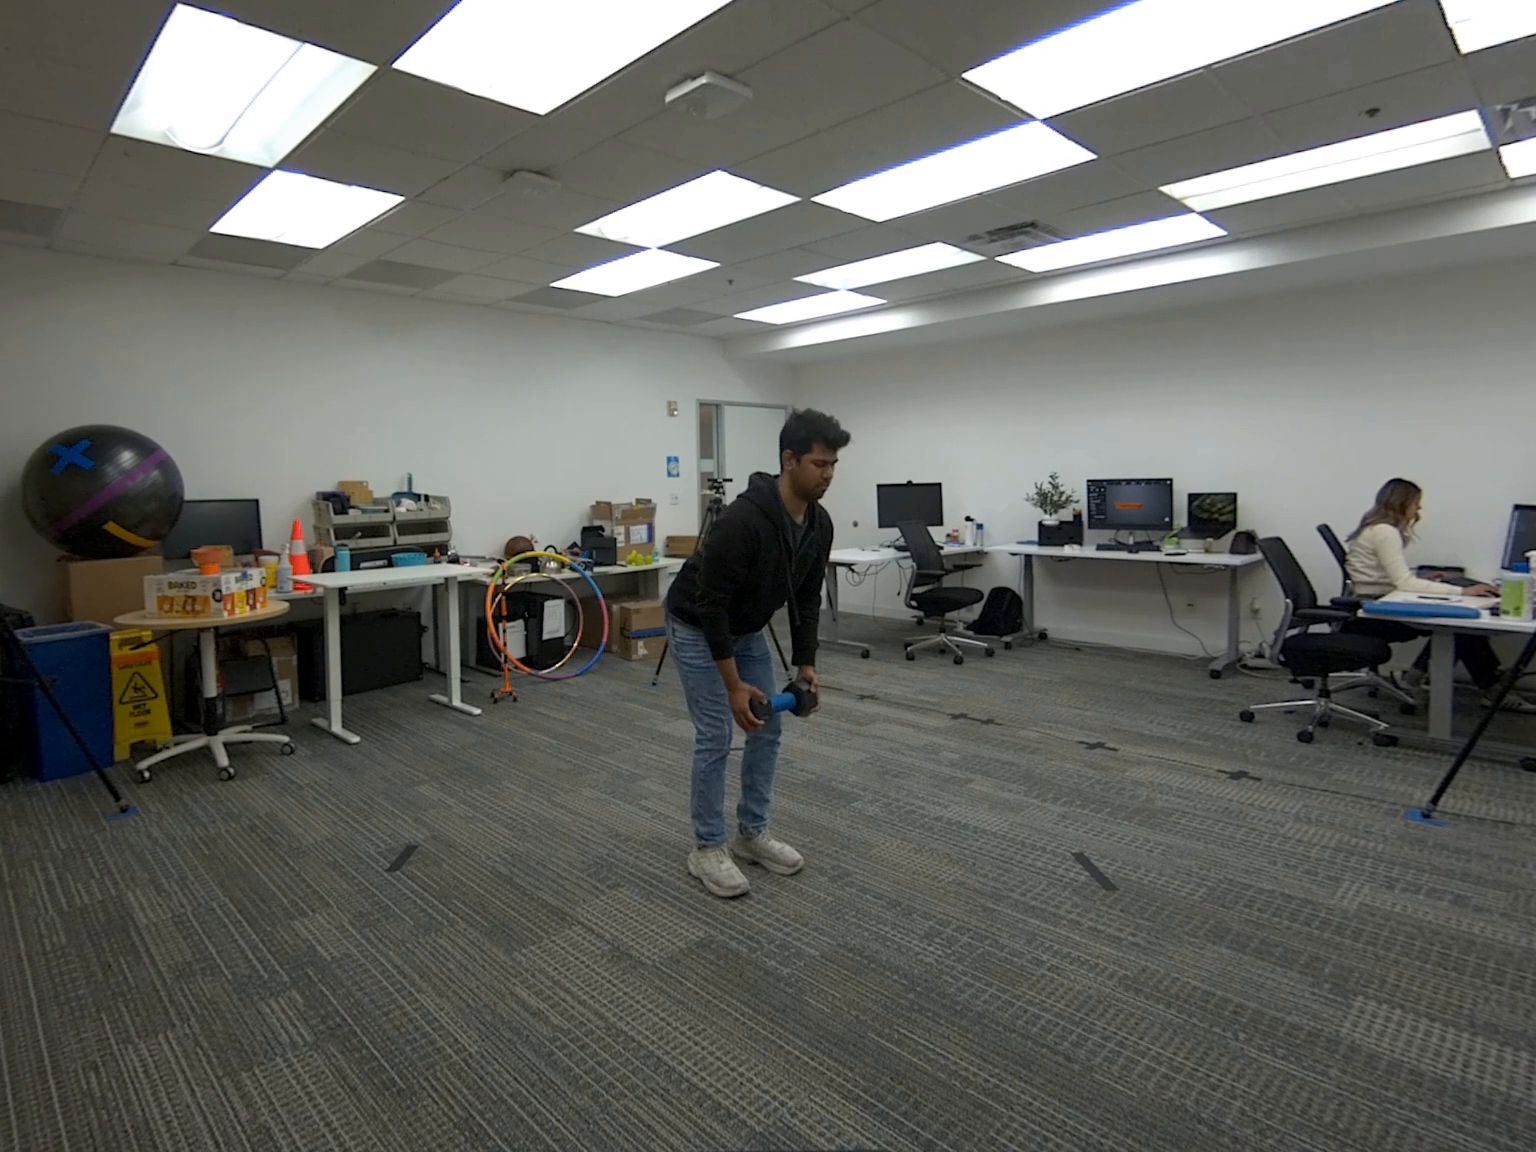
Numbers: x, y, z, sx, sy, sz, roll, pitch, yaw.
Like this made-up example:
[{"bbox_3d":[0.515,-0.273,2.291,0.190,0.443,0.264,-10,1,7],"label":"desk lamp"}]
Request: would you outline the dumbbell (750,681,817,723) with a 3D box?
[{"bbox_3d":[0.024,0.438,2.900,0.286,0.112,0.122,-9,-29,-39],"label":"dumbbell"}]
